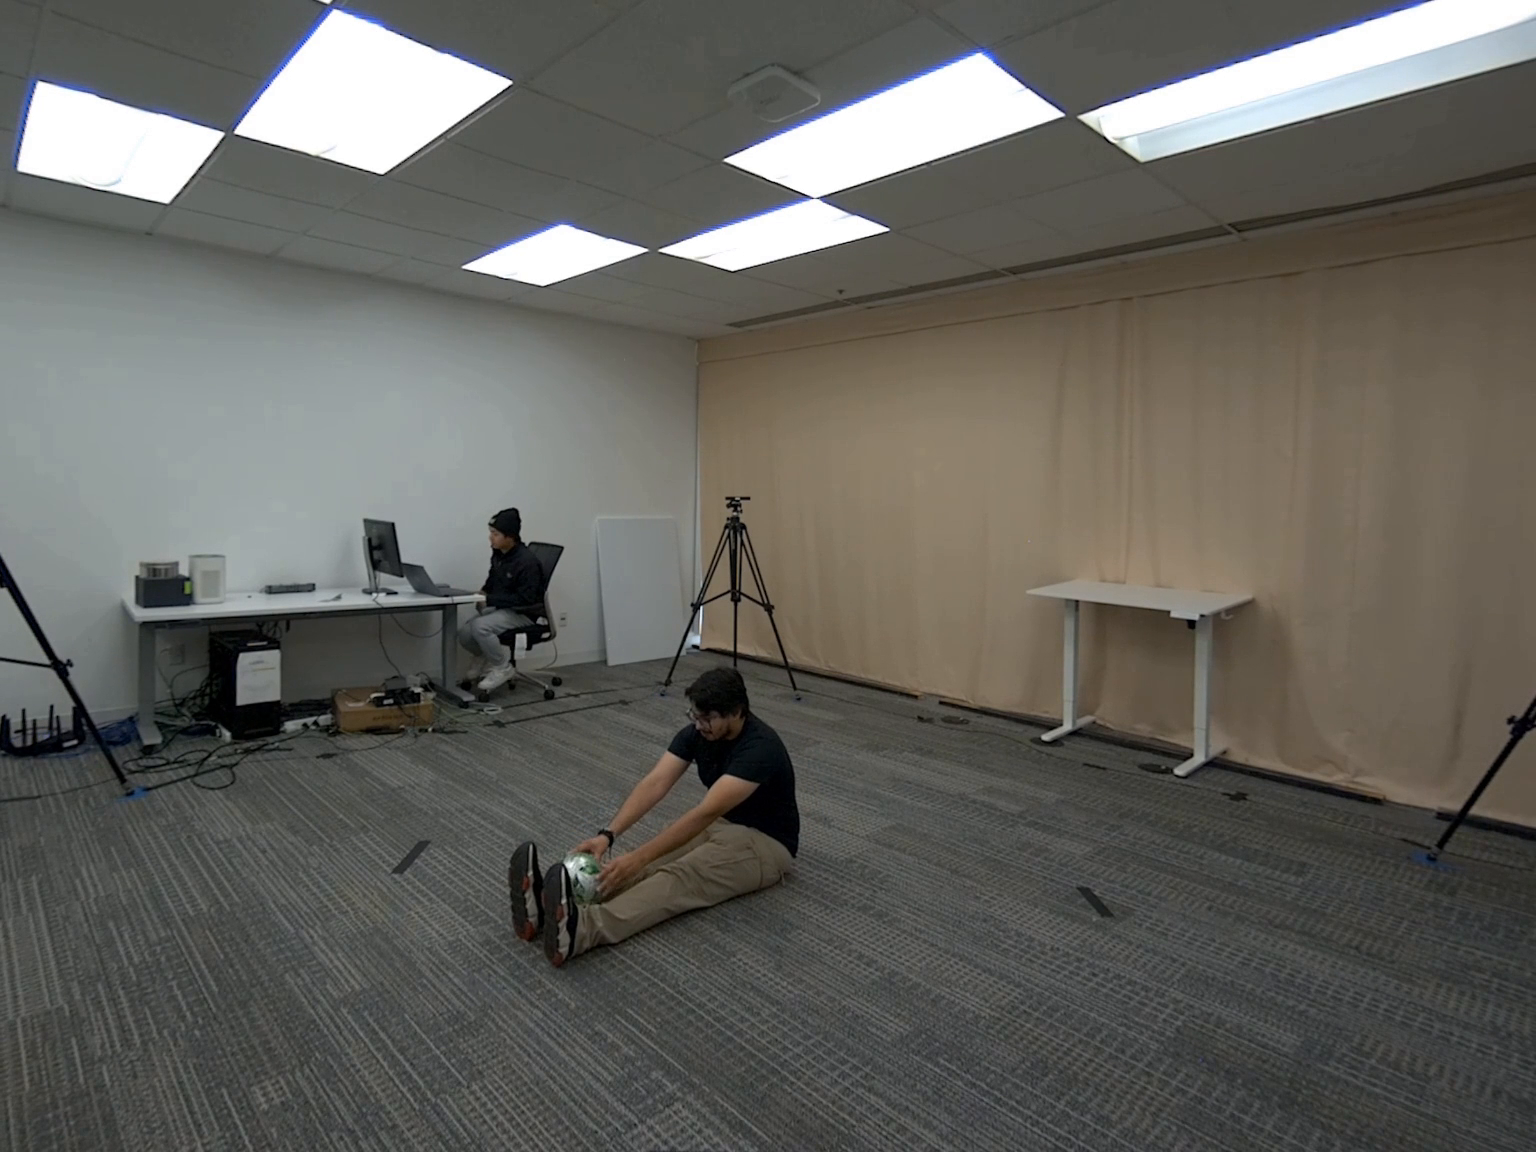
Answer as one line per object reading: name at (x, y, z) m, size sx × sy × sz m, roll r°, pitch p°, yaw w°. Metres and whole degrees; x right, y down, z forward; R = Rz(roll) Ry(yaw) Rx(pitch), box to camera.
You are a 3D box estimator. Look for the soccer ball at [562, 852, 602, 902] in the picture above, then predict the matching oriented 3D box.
soccer ball at (-0.615, 0.974, 2.651) m, size 0.187 × 0.187 × 0.188 m, roll 1°, pitch 5°, yaw -1°
